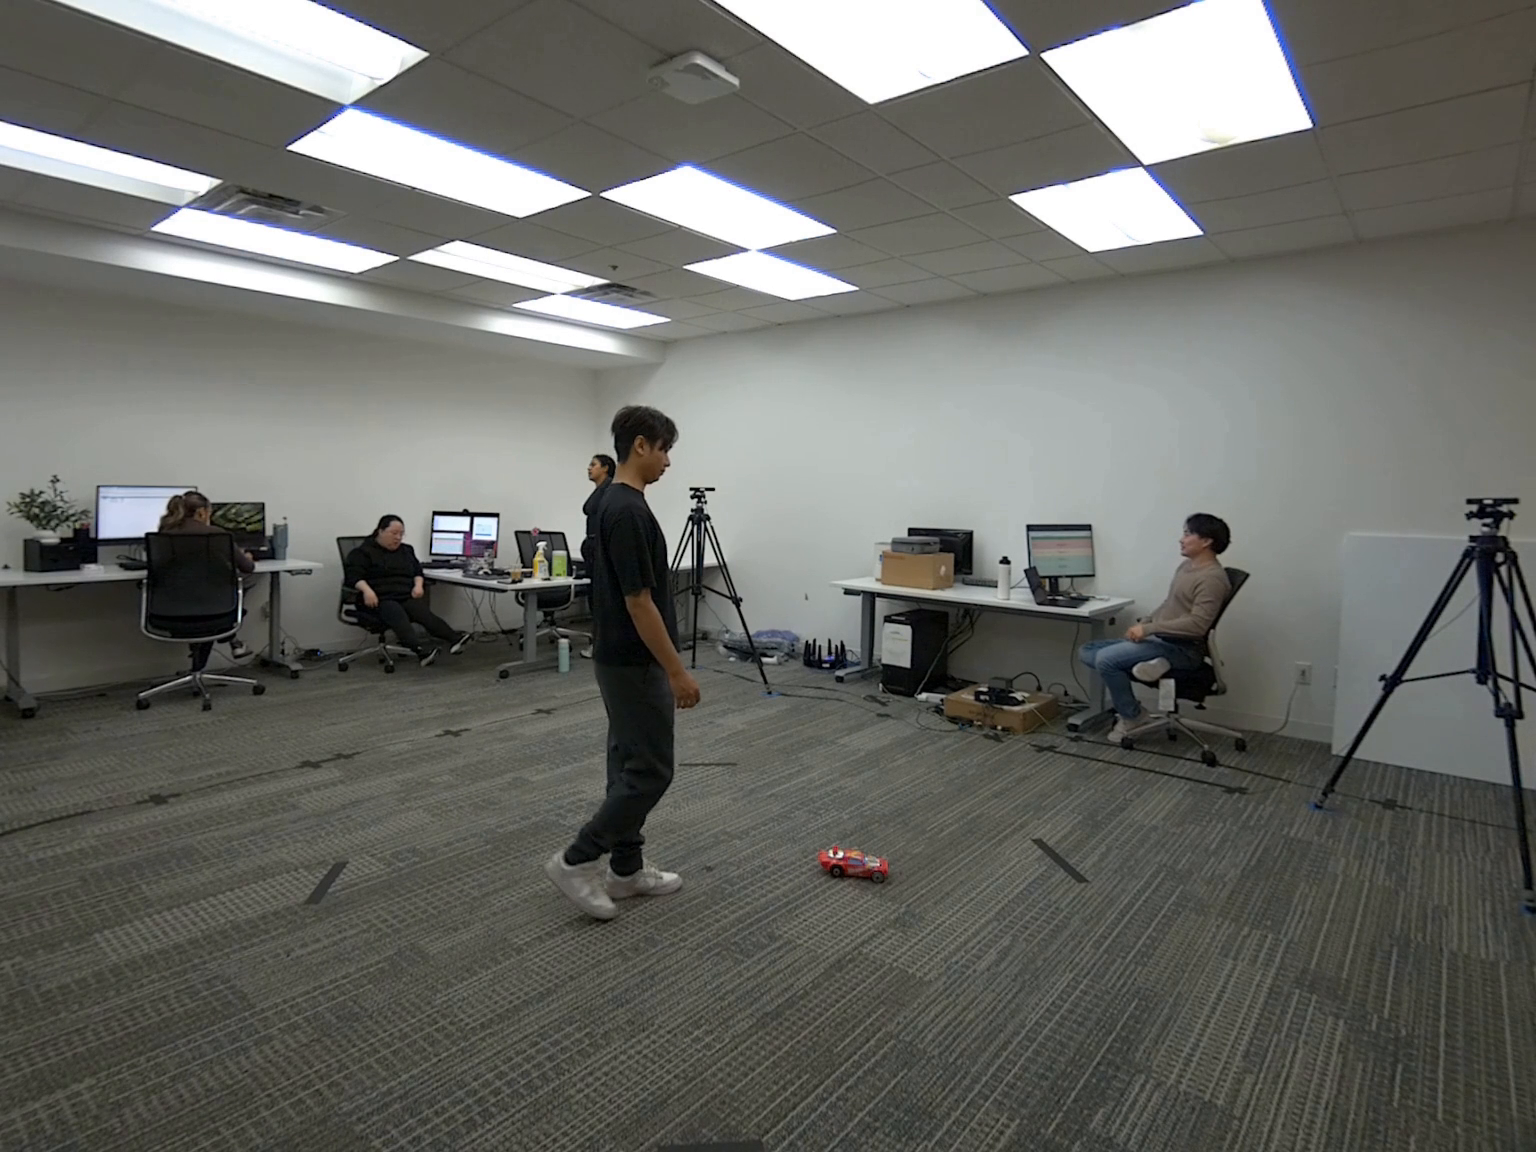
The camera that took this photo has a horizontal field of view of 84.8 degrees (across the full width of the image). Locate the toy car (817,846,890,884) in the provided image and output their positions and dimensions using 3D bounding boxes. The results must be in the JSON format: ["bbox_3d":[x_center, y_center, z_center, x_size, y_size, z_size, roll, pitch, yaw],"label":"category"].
[{"bbox_3d":[0.303,1.050,3.101,0.258,0.083,0.129,12,5,10],"label":"toy car"}]
